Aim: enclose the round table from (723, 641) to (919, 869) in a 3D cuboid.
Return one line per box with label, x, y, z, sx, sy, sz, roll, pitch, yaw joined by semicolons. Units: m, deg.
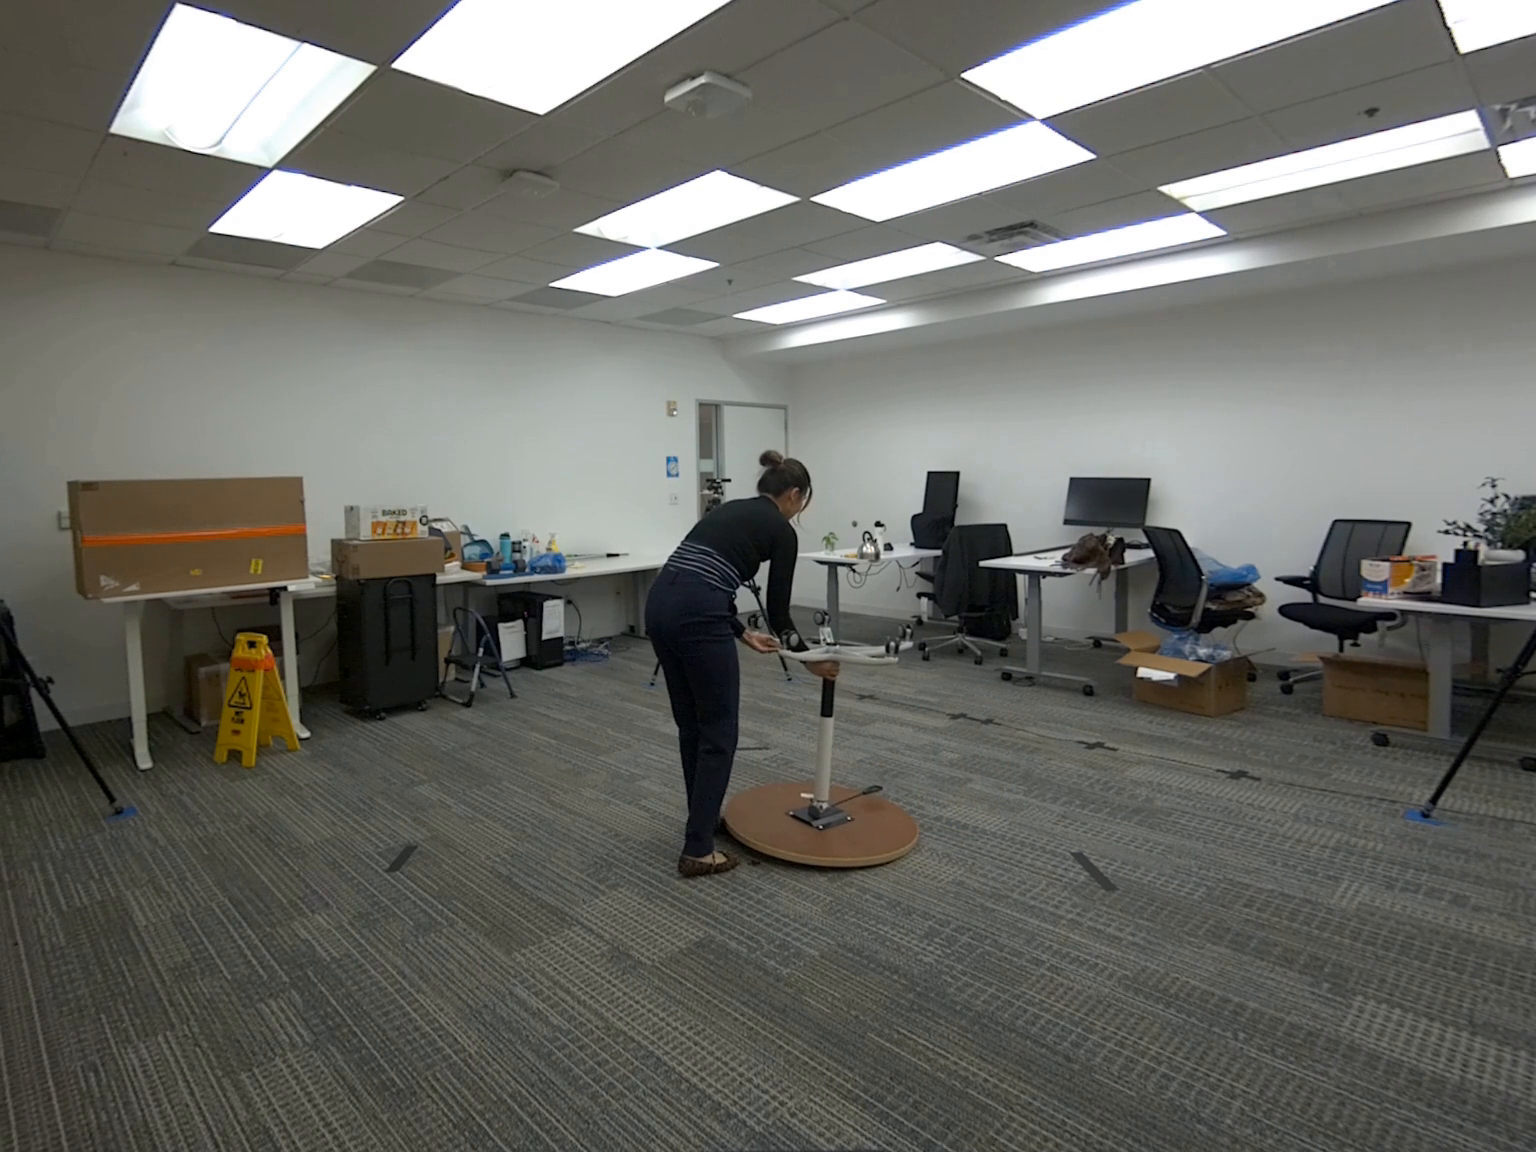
round table;0.231;0.593;3.376;0.763;0.791;0.767;2;4;-2
